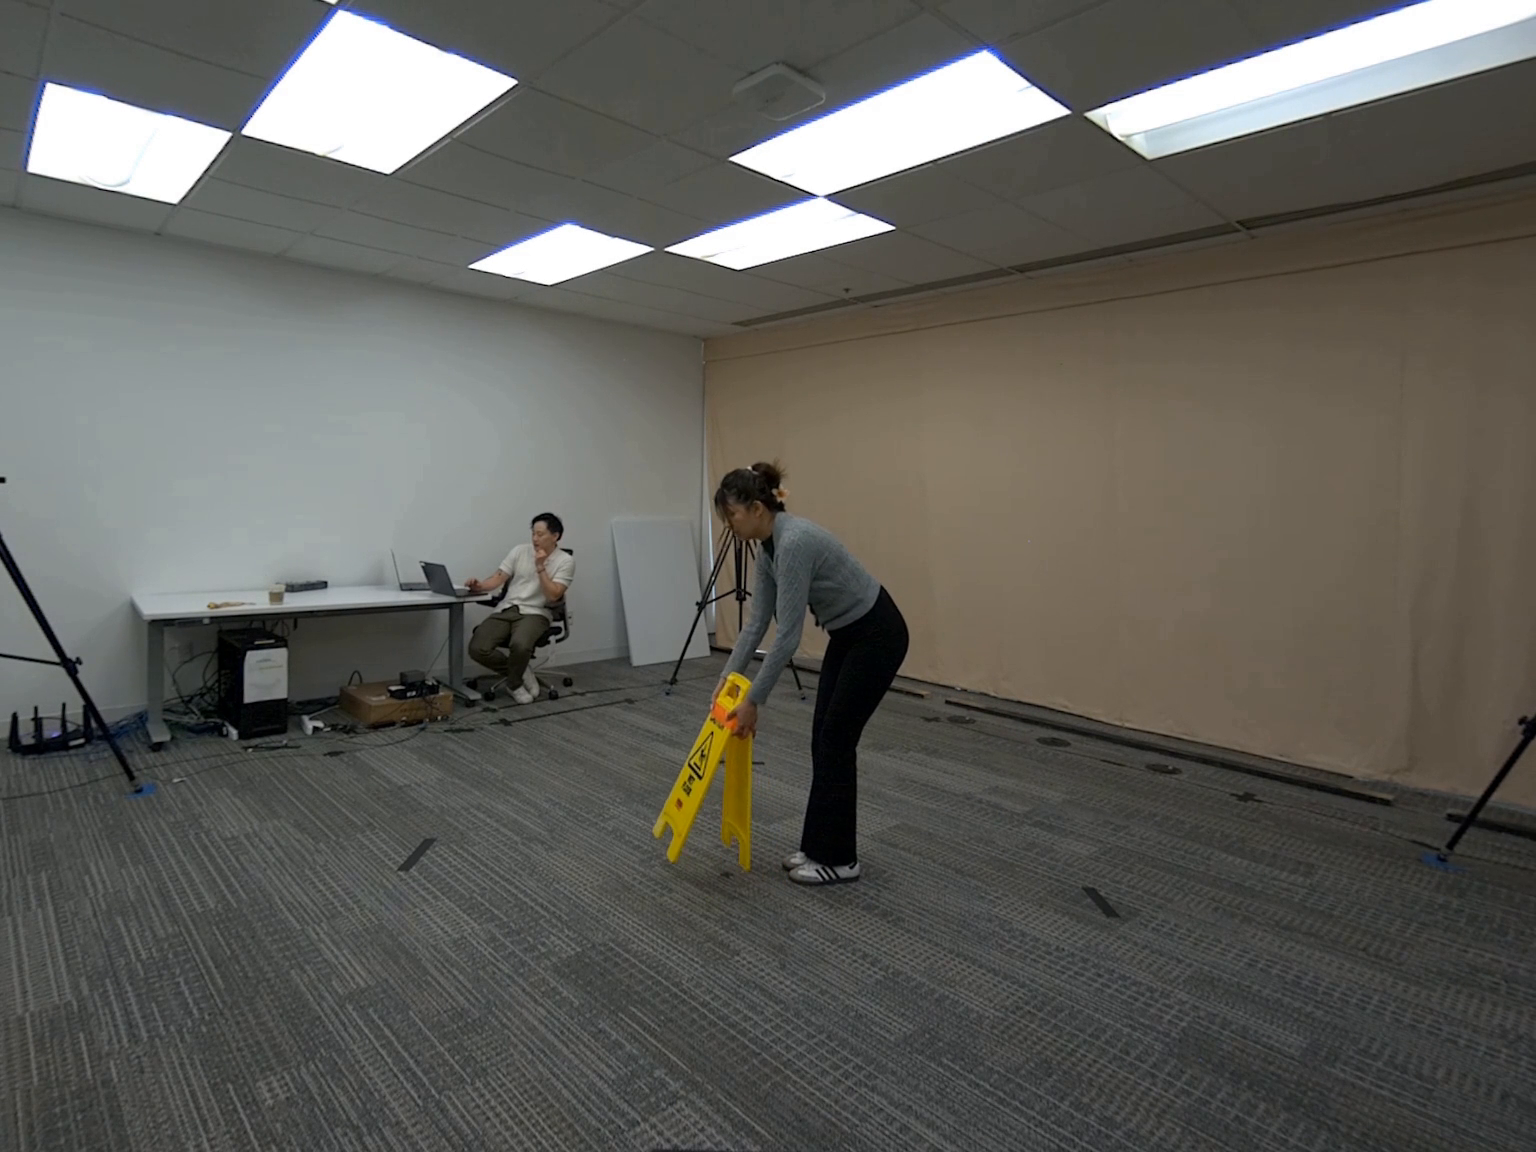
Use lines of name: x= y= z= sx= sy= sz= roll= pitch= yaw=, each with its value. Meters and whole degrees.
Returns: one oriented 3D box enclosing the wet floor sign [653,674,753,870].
wet floor sign: x=-0.180 y=0.679 z=3.027 sx=0.284 sy=0.646 sz=0.287 roll=13 pitch=-1 yaw=-21
